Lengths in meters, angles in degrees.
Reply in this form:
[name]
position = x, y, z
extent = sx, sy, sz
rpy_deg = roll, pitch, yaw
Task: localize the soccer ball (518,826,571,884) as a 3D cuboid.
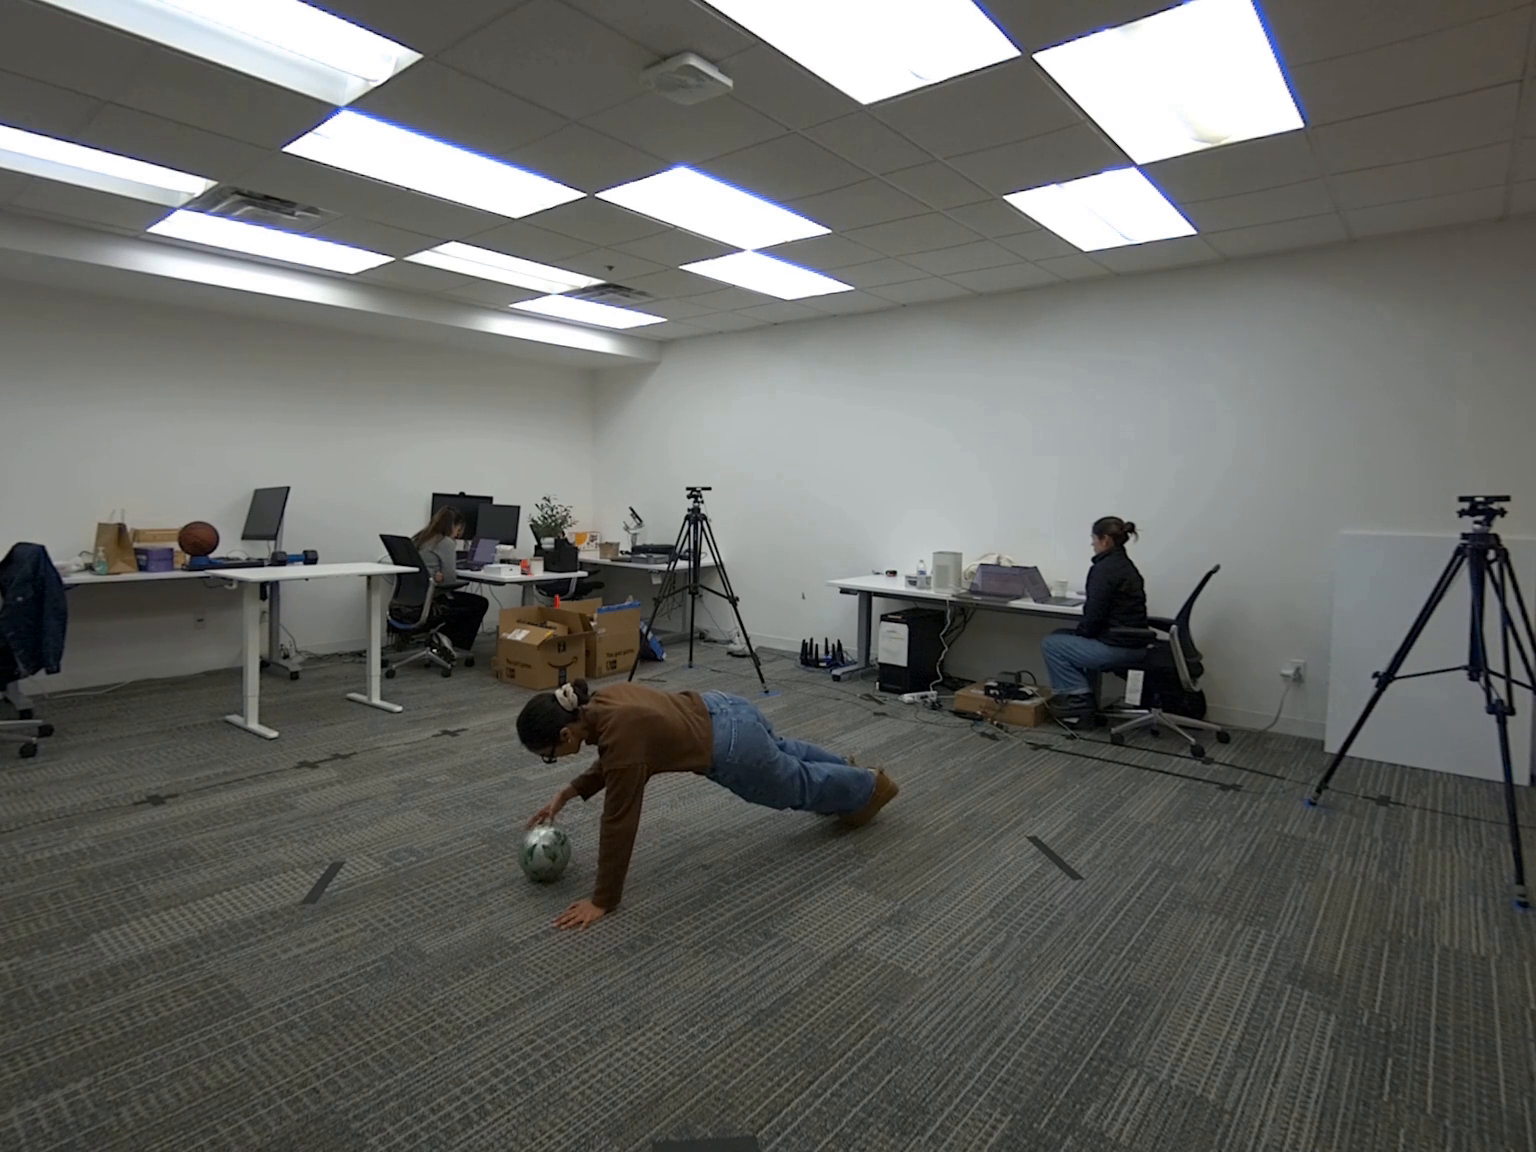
[soccer ball]
position = -0.800, 0.974, 3.009
extent = 0.187, 0.187, 0.188
rpy_deg = 1, 4, -2
